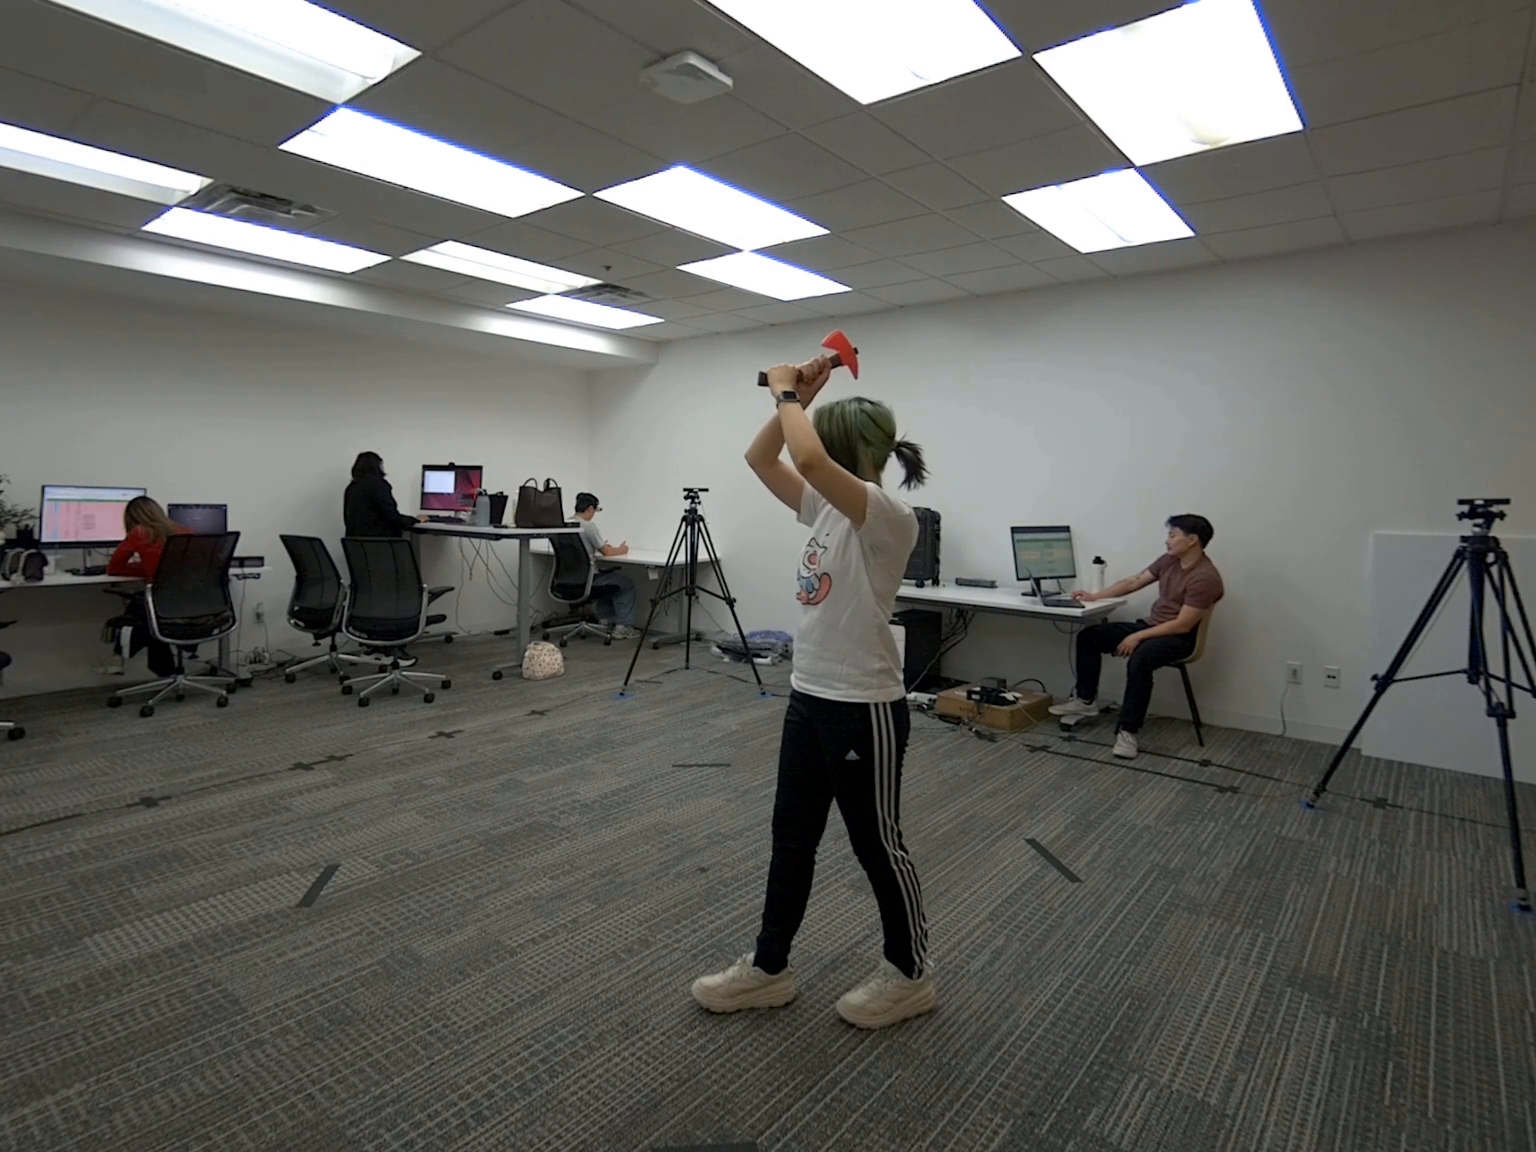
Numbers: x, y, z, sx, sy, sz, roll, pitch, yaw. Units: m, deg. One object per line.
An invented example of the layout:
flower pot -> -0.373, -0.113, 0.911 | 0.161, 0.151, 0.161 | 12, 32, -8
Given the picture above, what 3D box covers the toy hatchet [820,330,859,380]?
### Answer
toy hatchet -> 0.093, -0.566, 2.178 | 0.268, 0.130, 0.030 | -5, 7, -7
